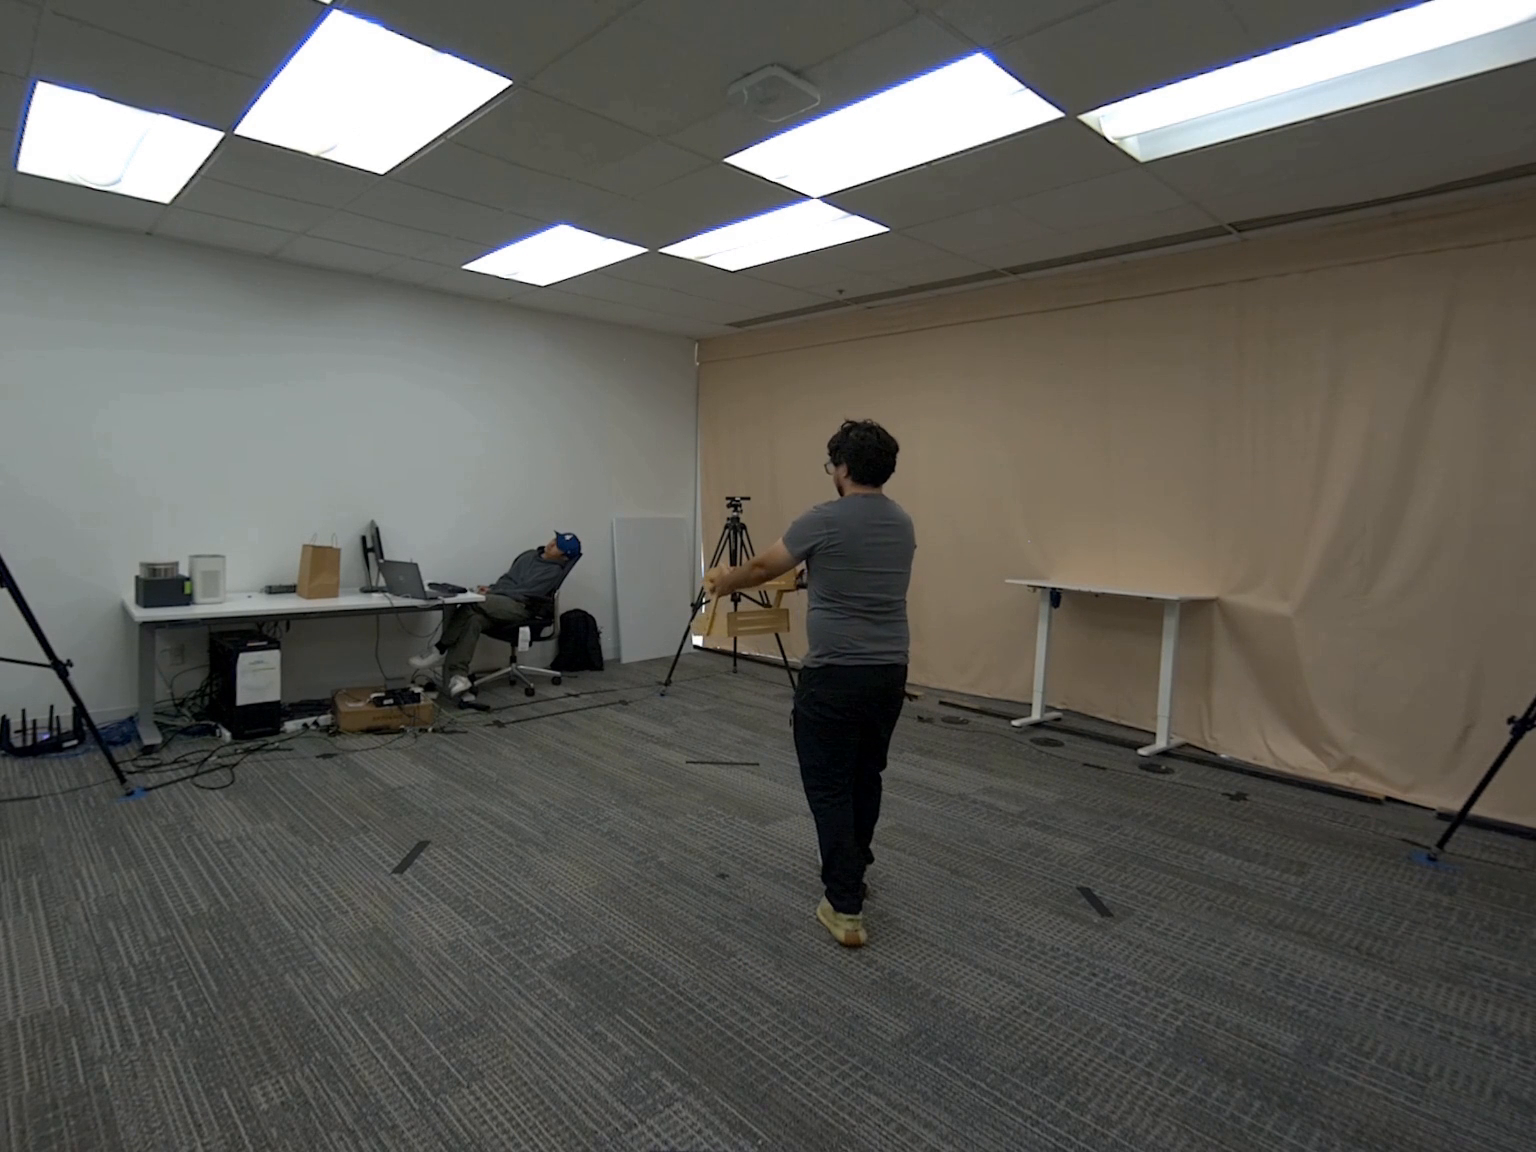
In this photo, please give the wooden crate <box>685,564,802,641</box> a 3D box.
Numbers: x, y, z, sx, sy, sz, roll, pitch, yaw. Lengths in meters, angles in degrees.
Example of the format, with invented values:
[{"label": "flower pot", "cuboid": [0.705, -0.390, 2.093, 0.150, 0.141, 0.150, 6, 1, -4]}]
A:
[{"label": "wooden crate", "cuboid": [-0.098, 0.093, 3.282, 0.317, 0.273, 0.309, -2, 0, -39]}]
